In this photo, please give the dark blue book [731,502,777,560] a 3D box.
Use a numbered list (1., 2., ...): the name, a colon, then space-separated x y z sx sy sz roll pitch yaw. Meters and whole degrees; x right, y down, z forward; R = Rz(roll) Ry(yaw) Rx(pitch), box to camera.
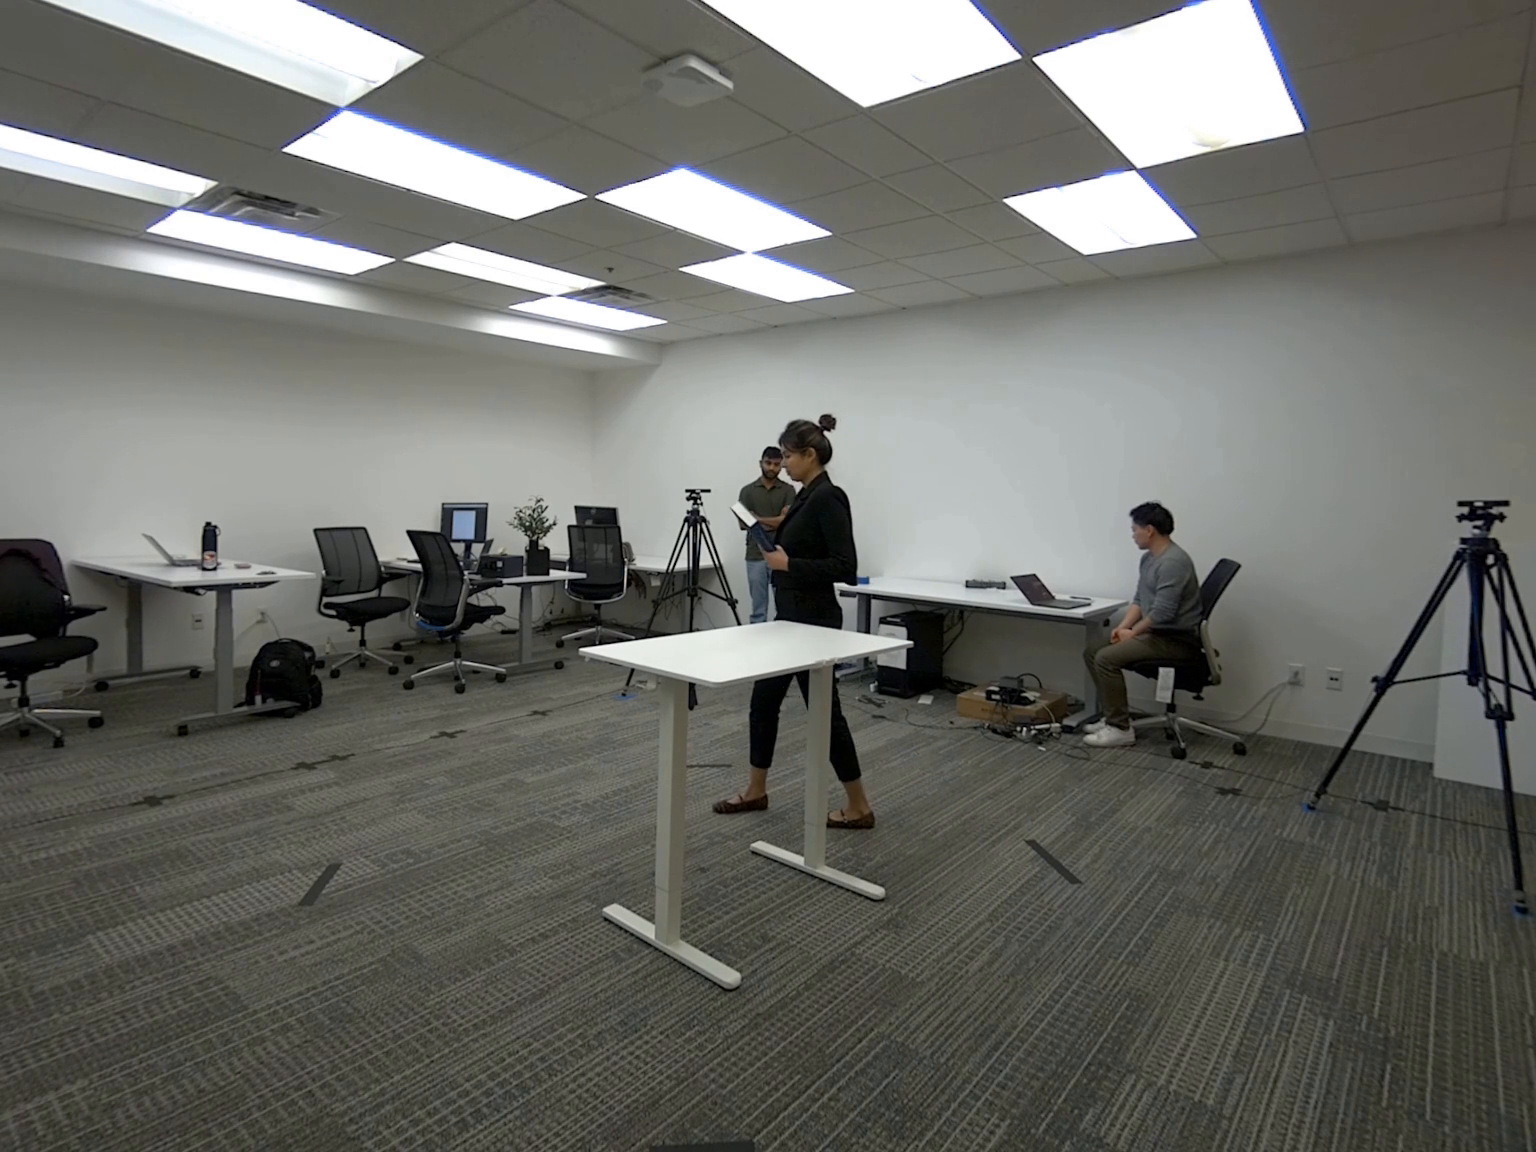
1. dark blue book: -0.061 -0.186 3.401 0.170 0.045 0.235 45 -6 44
